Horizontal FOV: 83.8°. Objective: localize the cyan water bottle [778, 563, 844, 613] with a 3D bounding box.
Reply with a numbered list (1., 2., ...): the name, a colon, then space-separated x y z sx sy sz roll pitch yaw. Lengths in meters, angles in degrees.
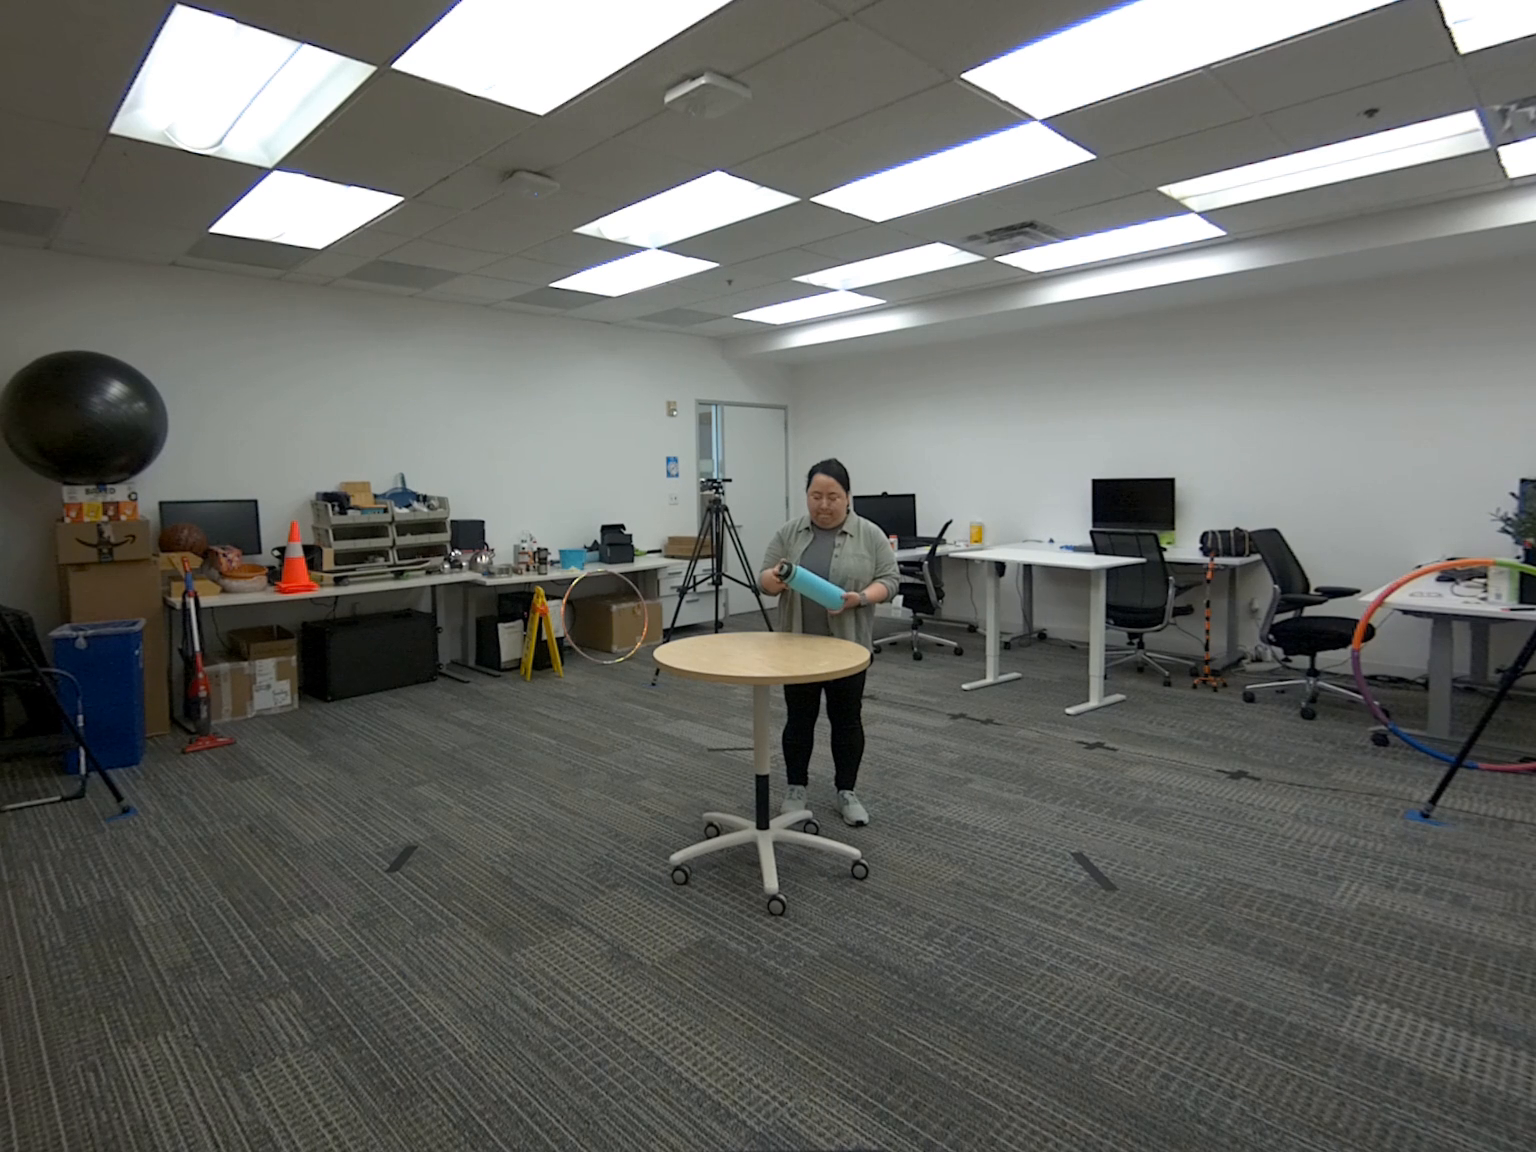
1. cyan water bottle: 0.173 0.040 3.277 0.280 0.092 0.093 28 -1 -9
